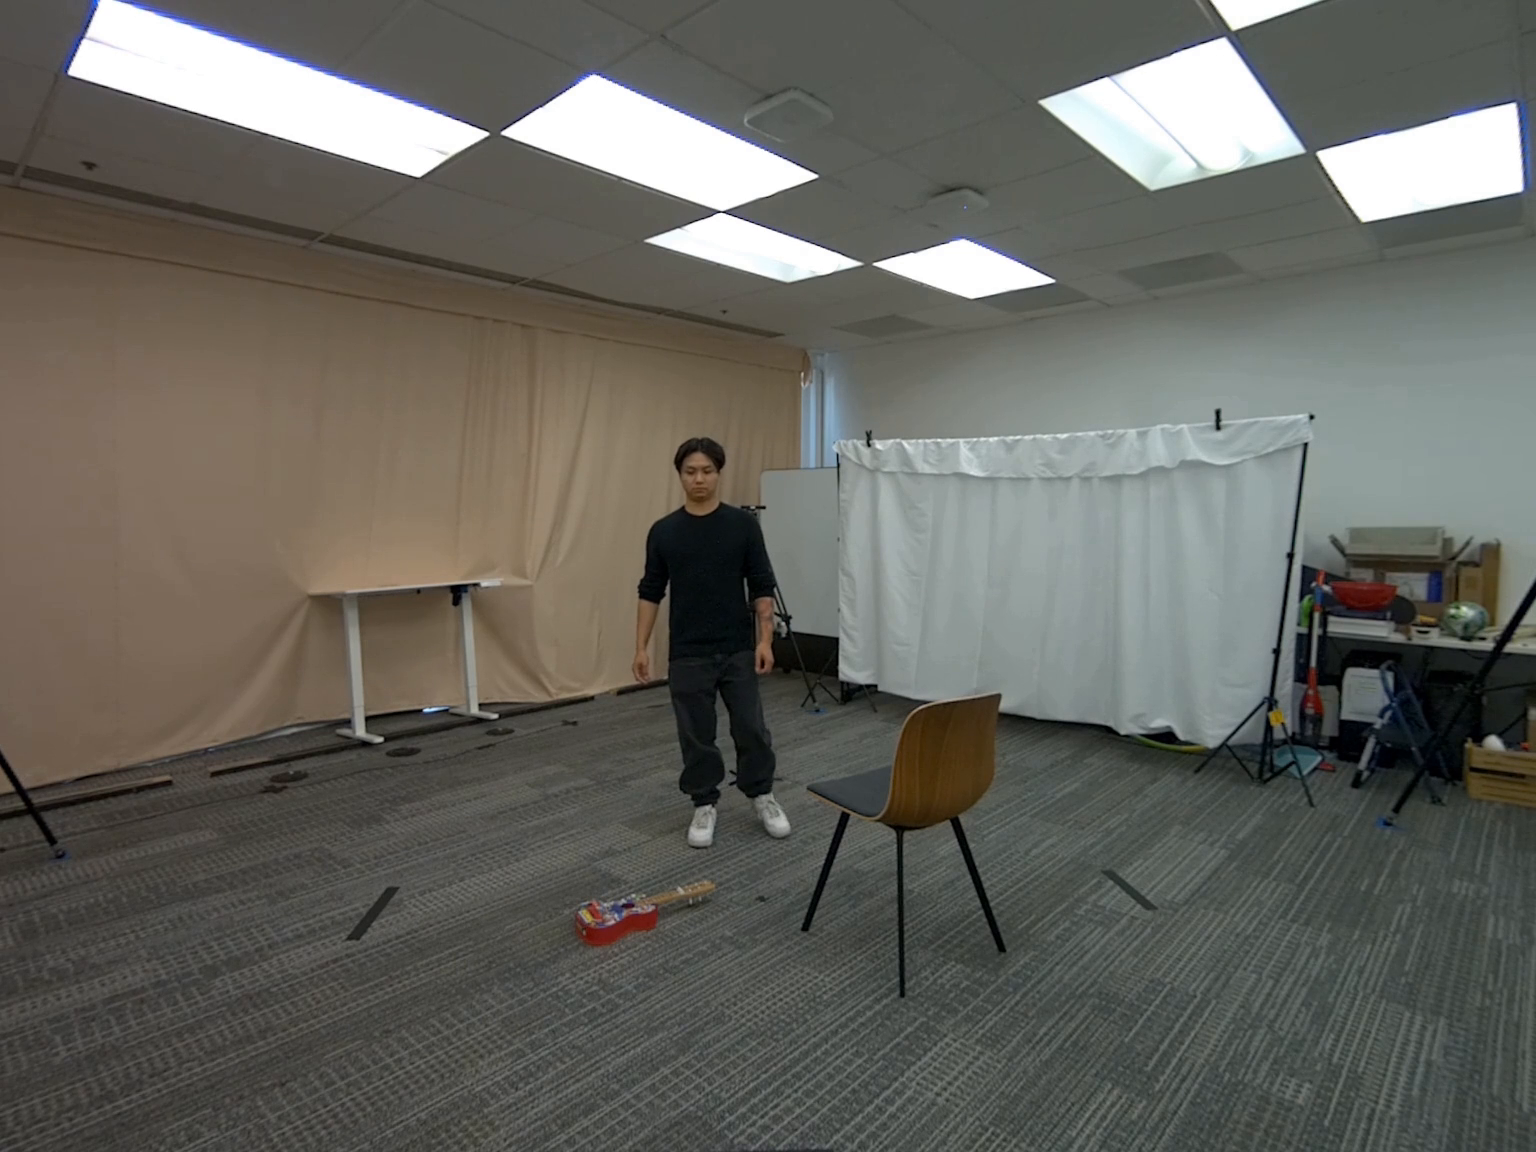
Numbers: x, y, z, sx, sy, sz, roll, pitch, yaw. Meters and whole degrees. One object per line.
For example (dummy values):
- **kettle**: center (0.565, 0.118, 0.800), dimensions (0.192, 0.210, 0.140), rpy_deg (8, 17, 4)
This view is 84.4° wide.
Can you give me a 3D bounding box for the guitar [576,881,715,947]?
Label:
- **guitar**: center (-0.399, 1.128, 2.818), dimensions (0.488, 0.070, 0.197), rpy_deg (-2, 5, -19)
